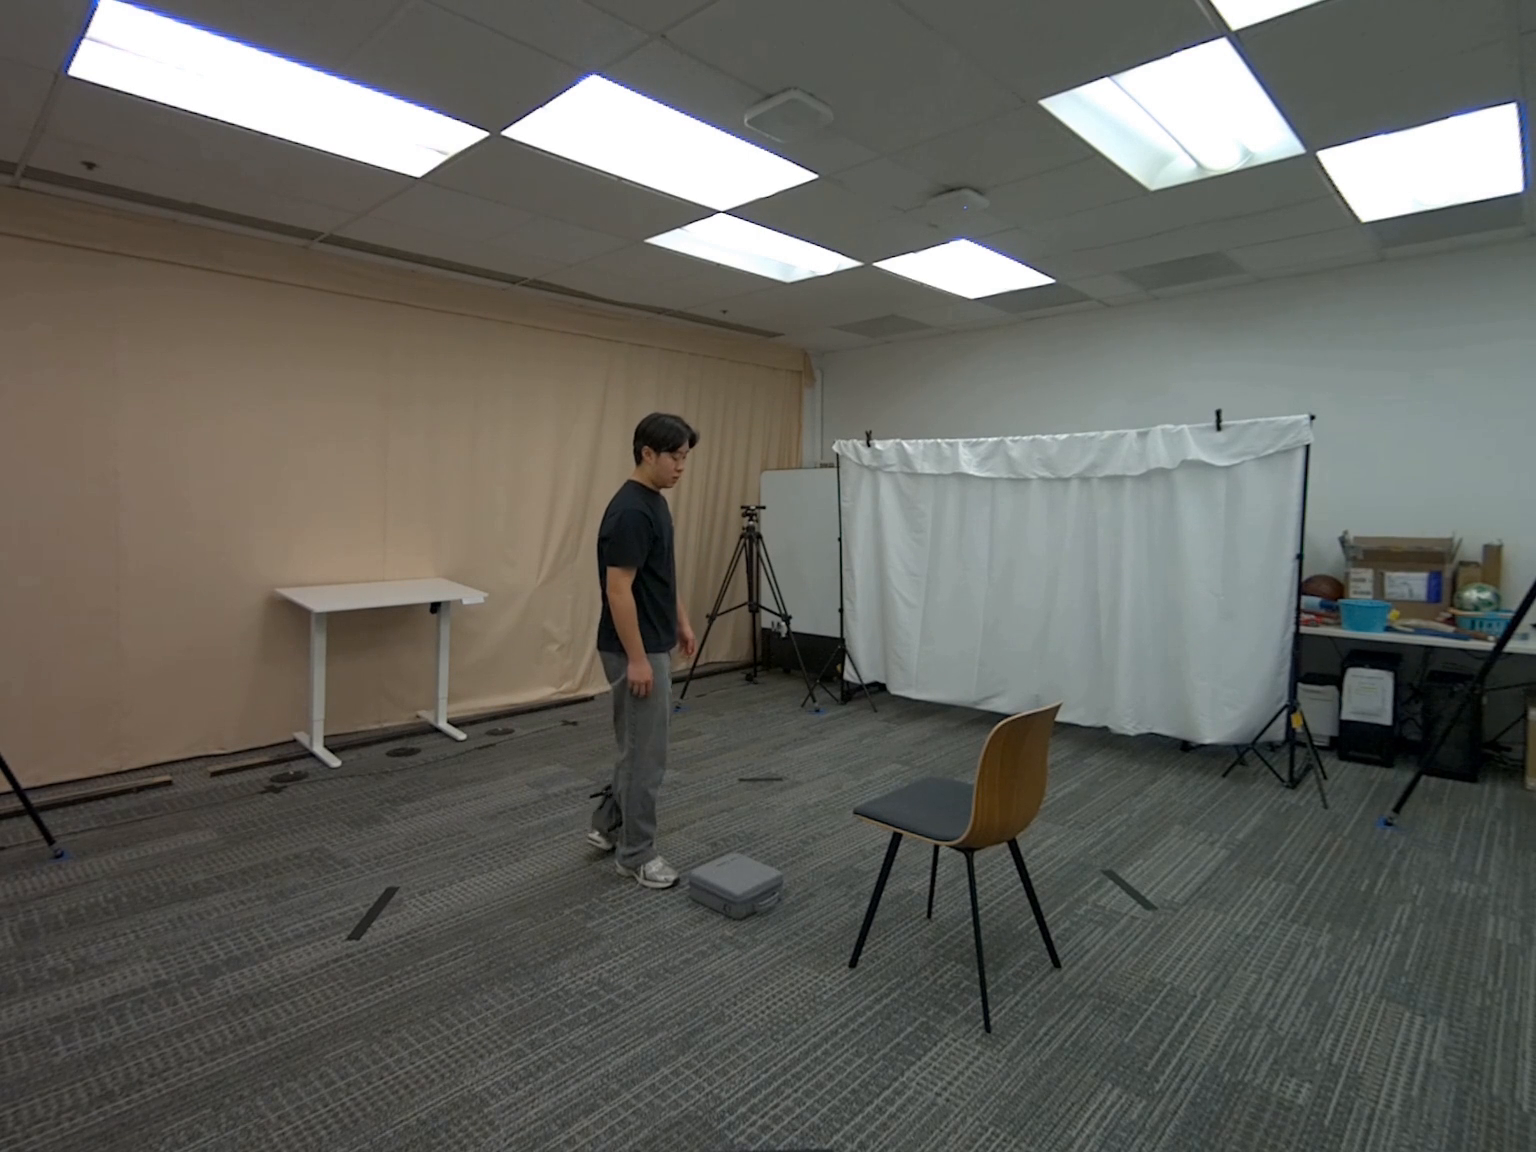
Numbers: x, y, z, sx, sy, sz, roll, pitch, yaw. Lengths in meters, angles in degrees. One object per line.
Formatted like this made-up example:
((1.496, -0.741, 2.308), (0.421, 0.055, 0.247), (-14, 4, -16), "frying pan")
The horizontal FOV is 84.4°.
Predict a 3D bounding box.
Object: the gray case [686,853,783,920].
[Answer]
((-0.097, 1.091, 2.971), (0.297, 0.103, 0.255), (6, 7, 43), "gray case")
